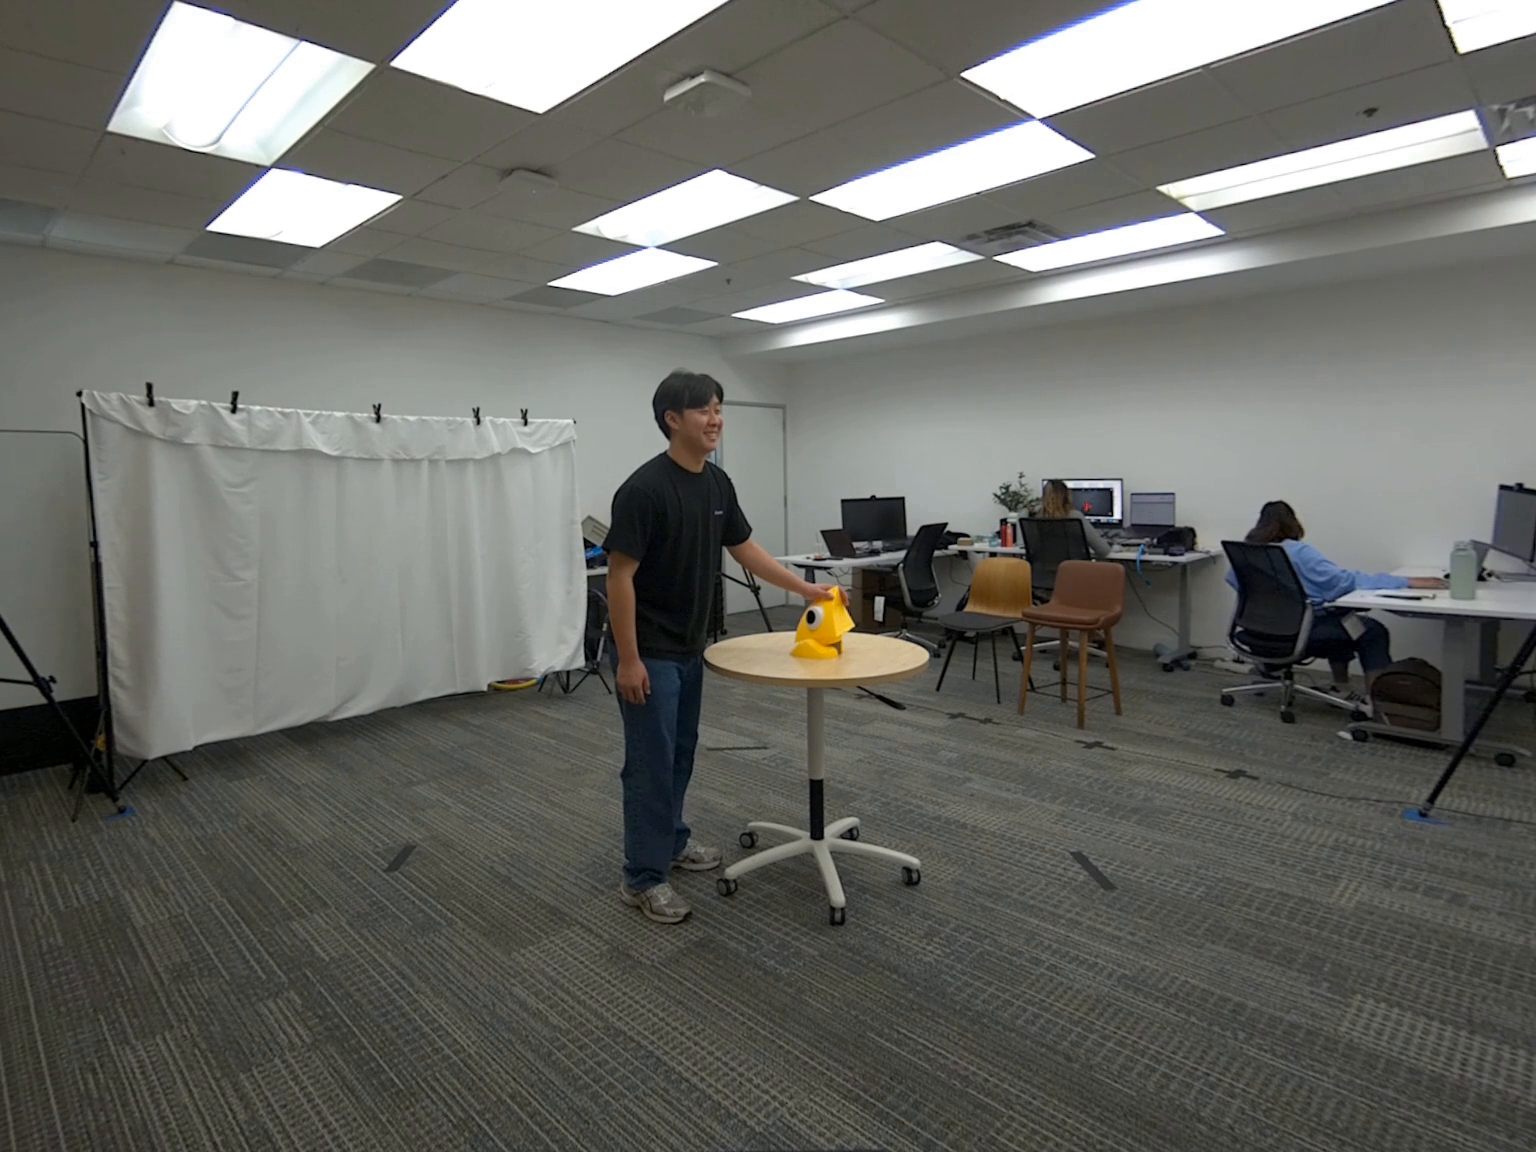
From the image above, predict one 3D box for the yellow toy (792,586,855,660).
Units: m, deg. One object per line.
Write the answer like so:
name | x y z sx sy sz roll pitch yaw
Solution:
yellow toy | 0.177 0.149 2.919 0.197 0.230 0.201 1 5 24
